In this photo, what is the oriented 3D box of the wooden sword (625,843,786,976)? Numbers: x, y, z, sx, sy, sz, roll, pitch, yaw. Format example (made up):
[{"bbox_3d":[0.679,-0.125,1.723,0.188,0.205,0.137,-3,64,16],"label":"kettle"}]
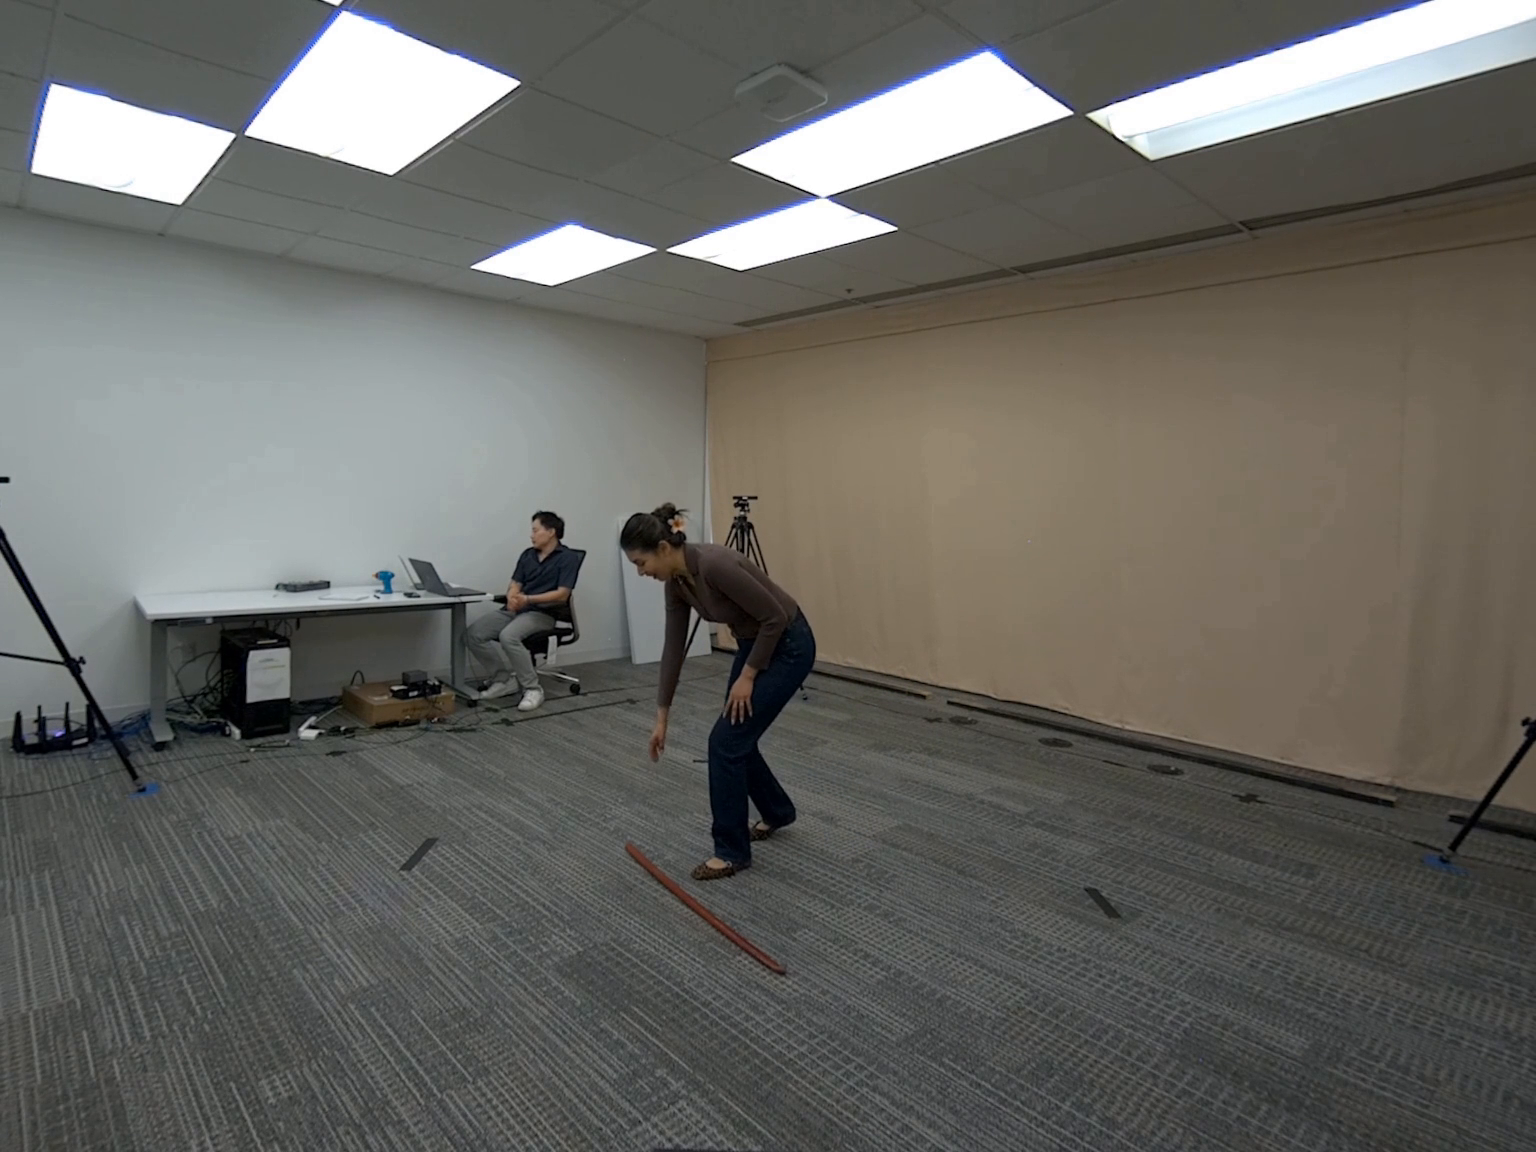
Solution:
[{"bbox_3d":[-0.255,1.100,2.875,0.051,0.023,1.050,-48,28,-21],"label":"wooden sword"}]
